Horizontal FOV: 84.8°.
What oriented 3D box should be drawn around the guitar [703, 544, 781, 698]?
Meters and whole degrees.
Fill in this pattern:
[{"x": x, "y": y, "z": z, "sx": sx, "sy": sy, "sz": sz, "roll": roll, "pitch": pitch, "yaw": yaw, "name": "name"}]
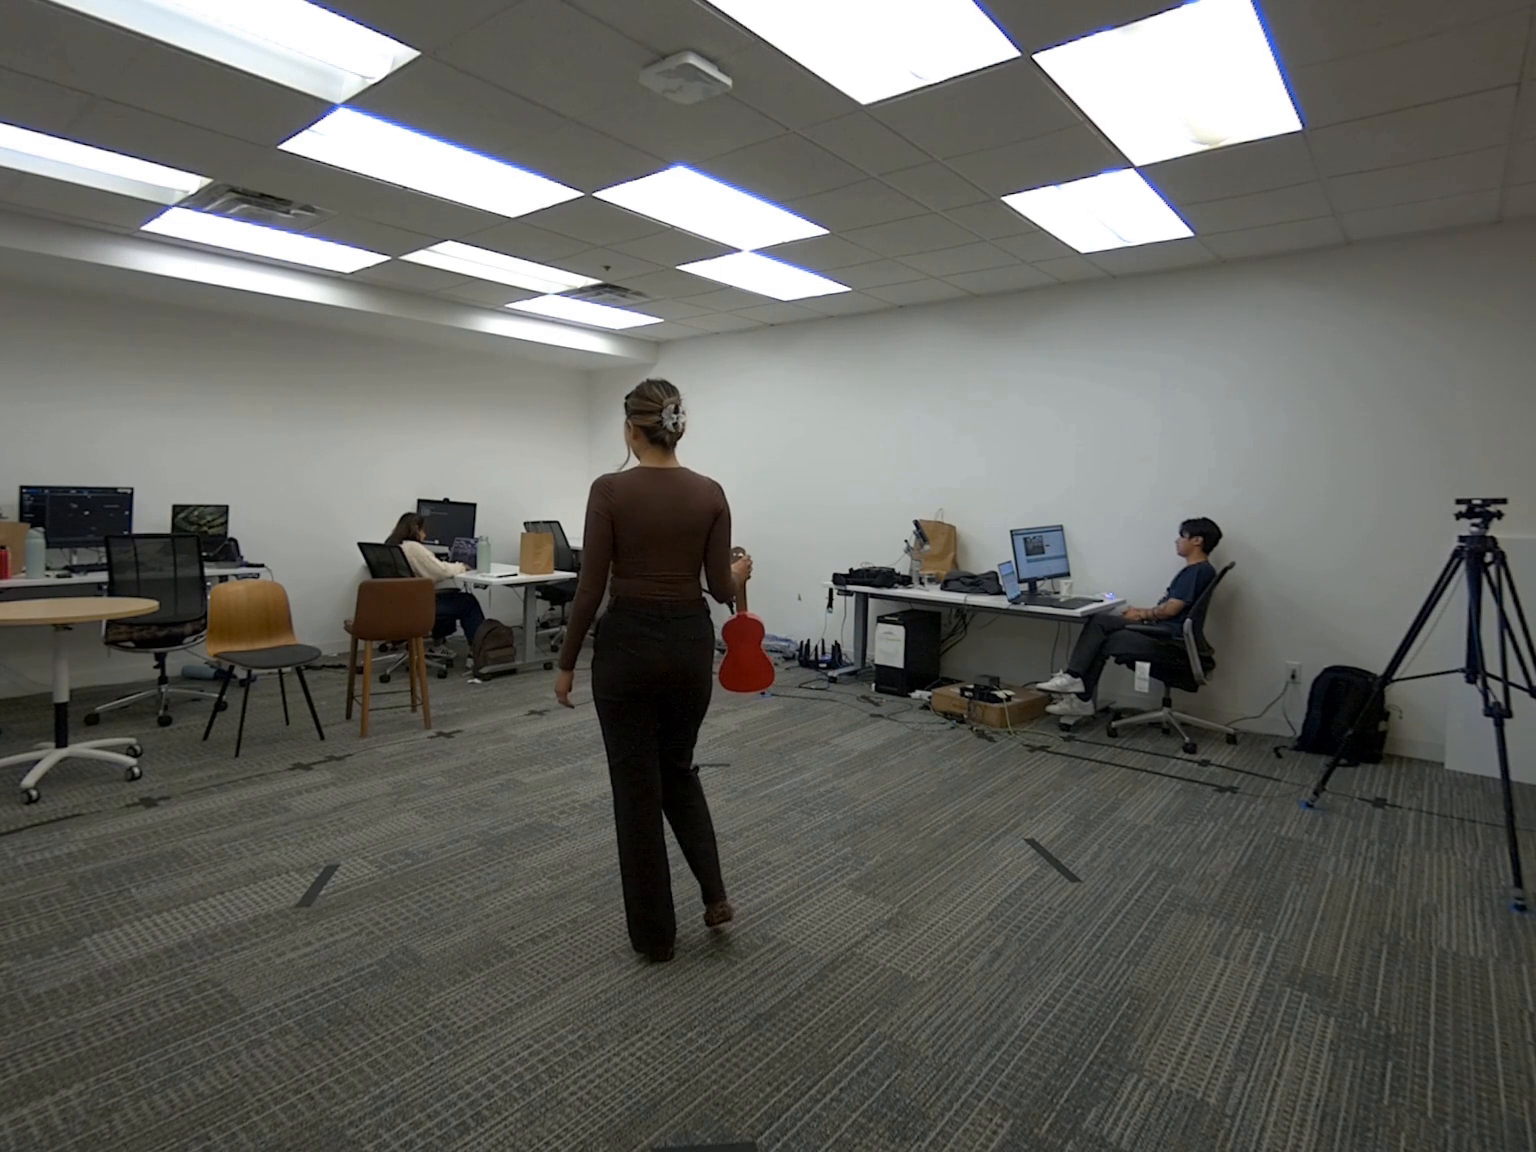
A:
[{"x": -0.114, "y": 0.156, "z": 2.928, "sx": 0.193, "sy": 0.493, "sz": 0.071, "roll": -14, "pitch": 8, "yaw": 4, "name": "guitar"}]
